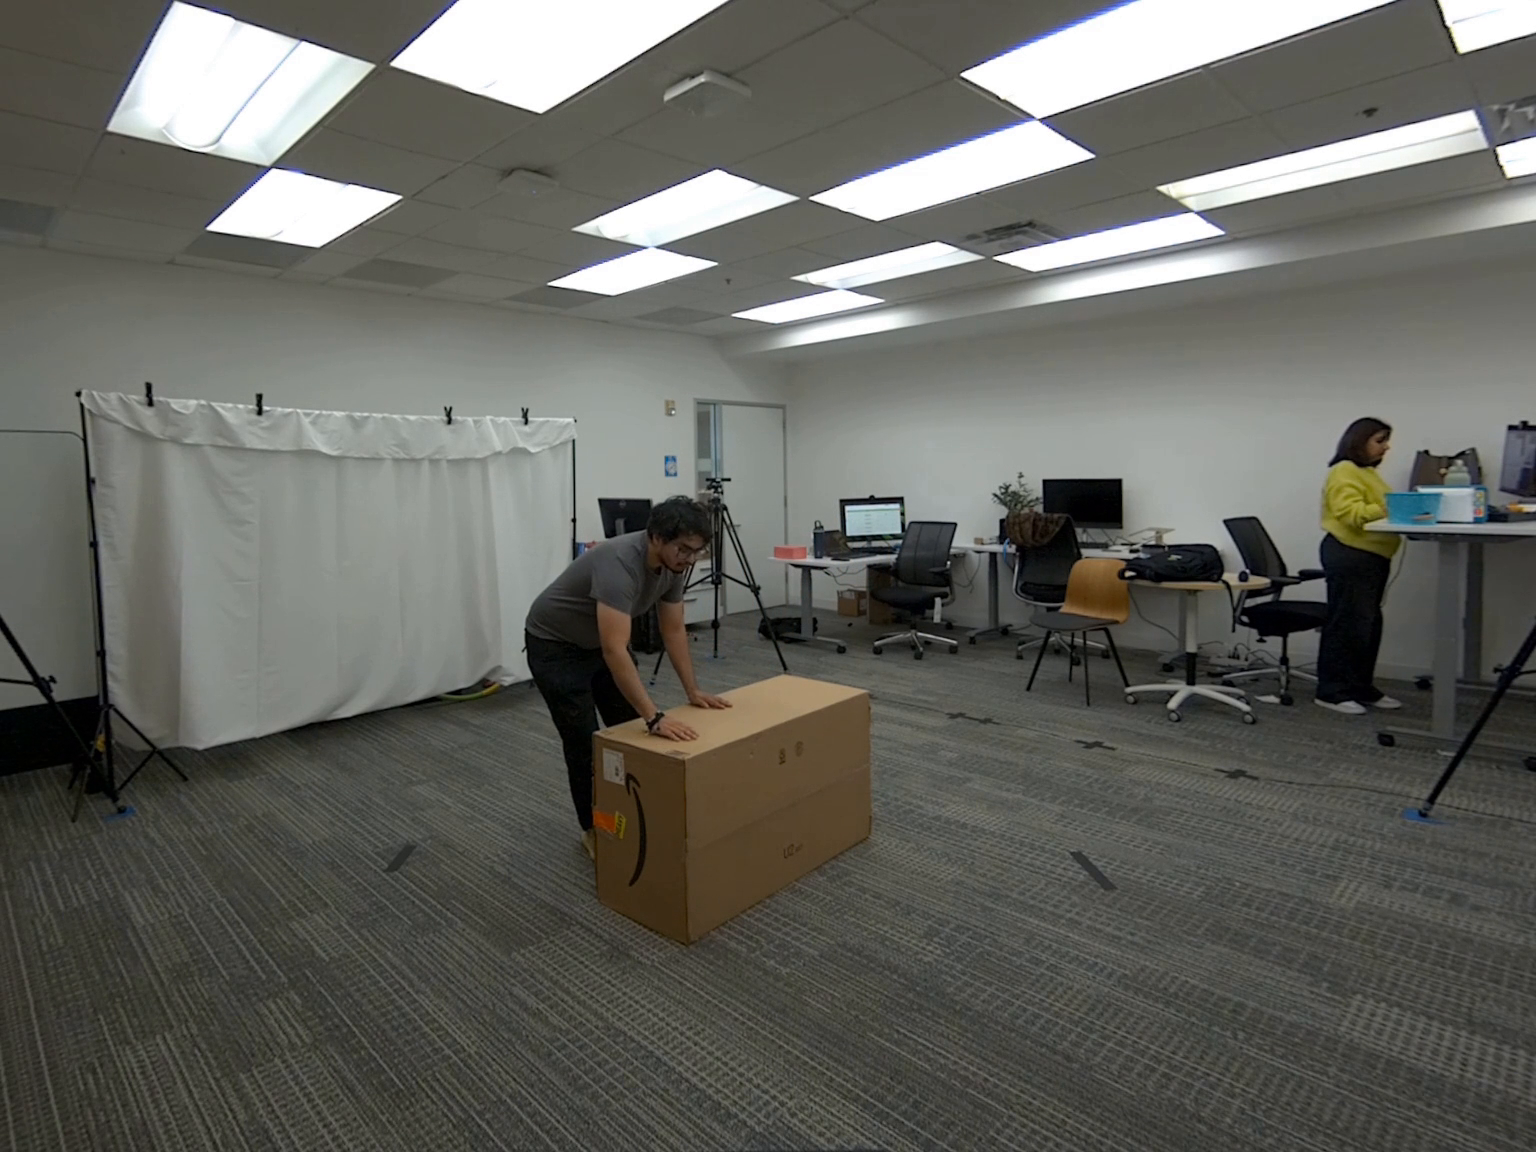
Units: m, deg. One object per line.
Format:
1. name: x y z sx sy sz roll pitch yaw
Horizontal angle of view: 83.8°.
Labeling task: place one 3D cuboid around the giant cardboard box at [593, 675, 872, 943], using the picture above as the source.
1. giant cardboard box: -0.090 0.758 3.060 0.439 0.575 1.000 2 7 40
